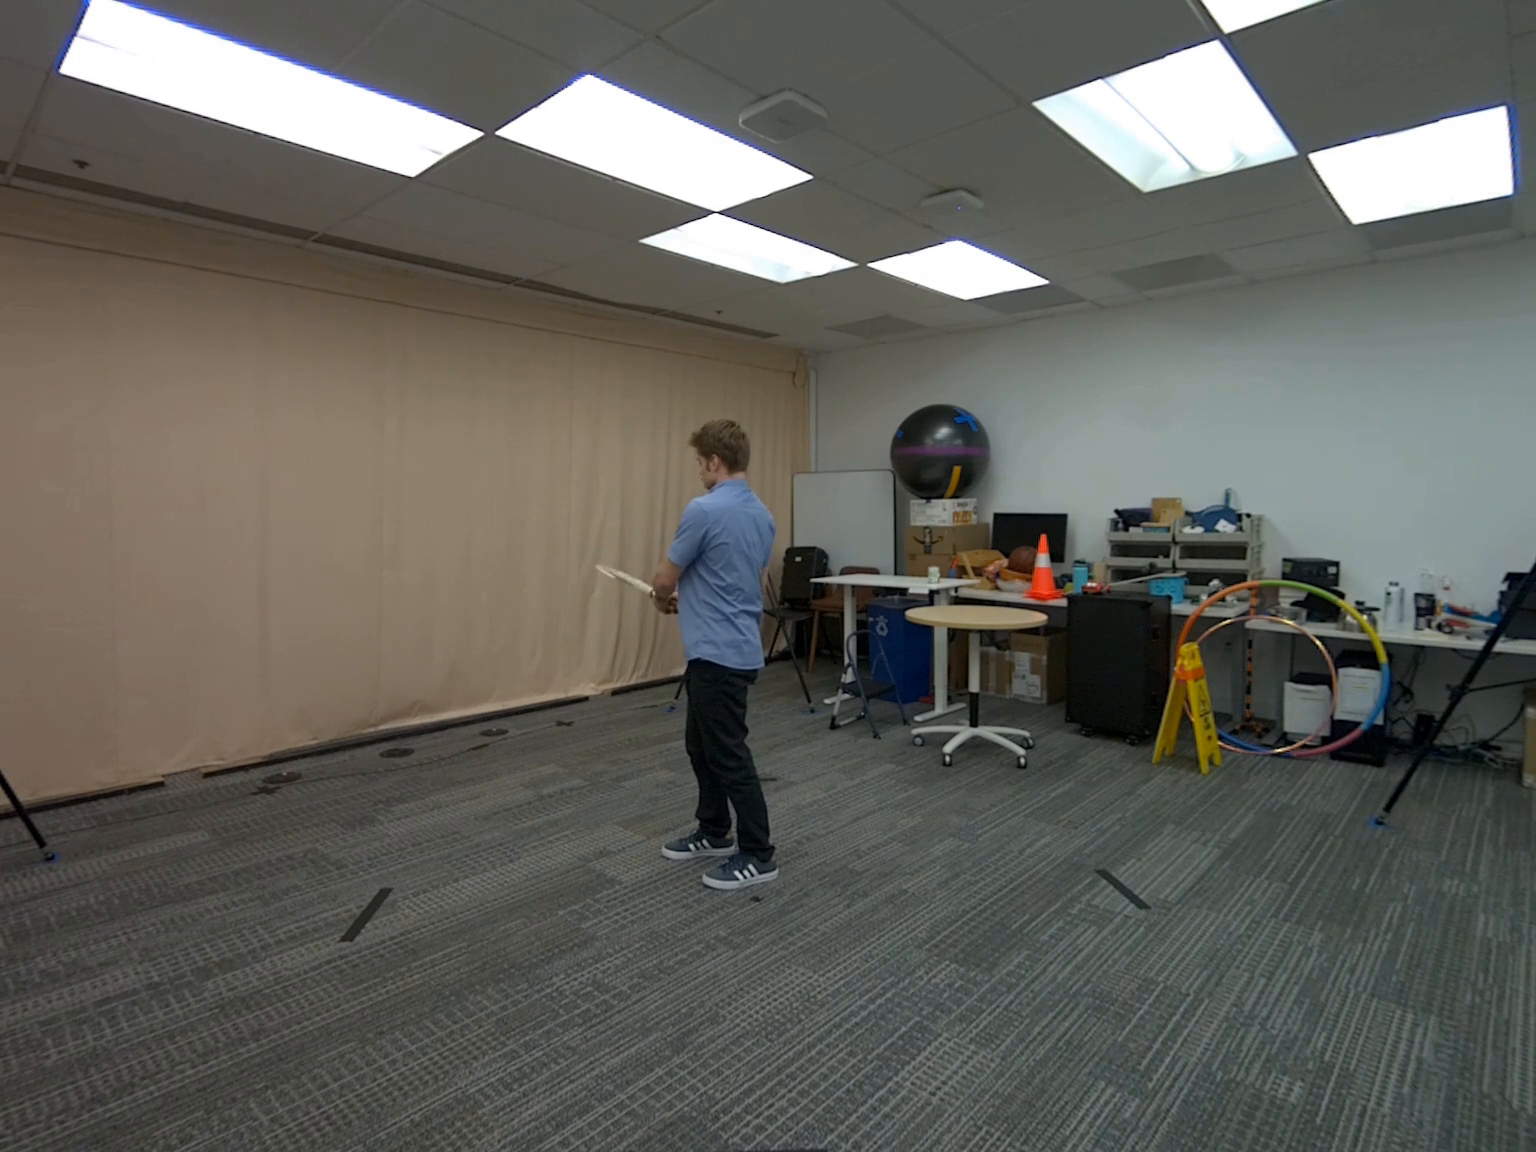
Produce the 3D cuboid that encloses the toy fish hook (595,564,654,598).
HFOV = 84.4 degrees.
[{"bbox_3d":[-0.522,0.053,3.463,0.525,0.048,0.217,23,4,39],"label":"toy fish hook"}]
